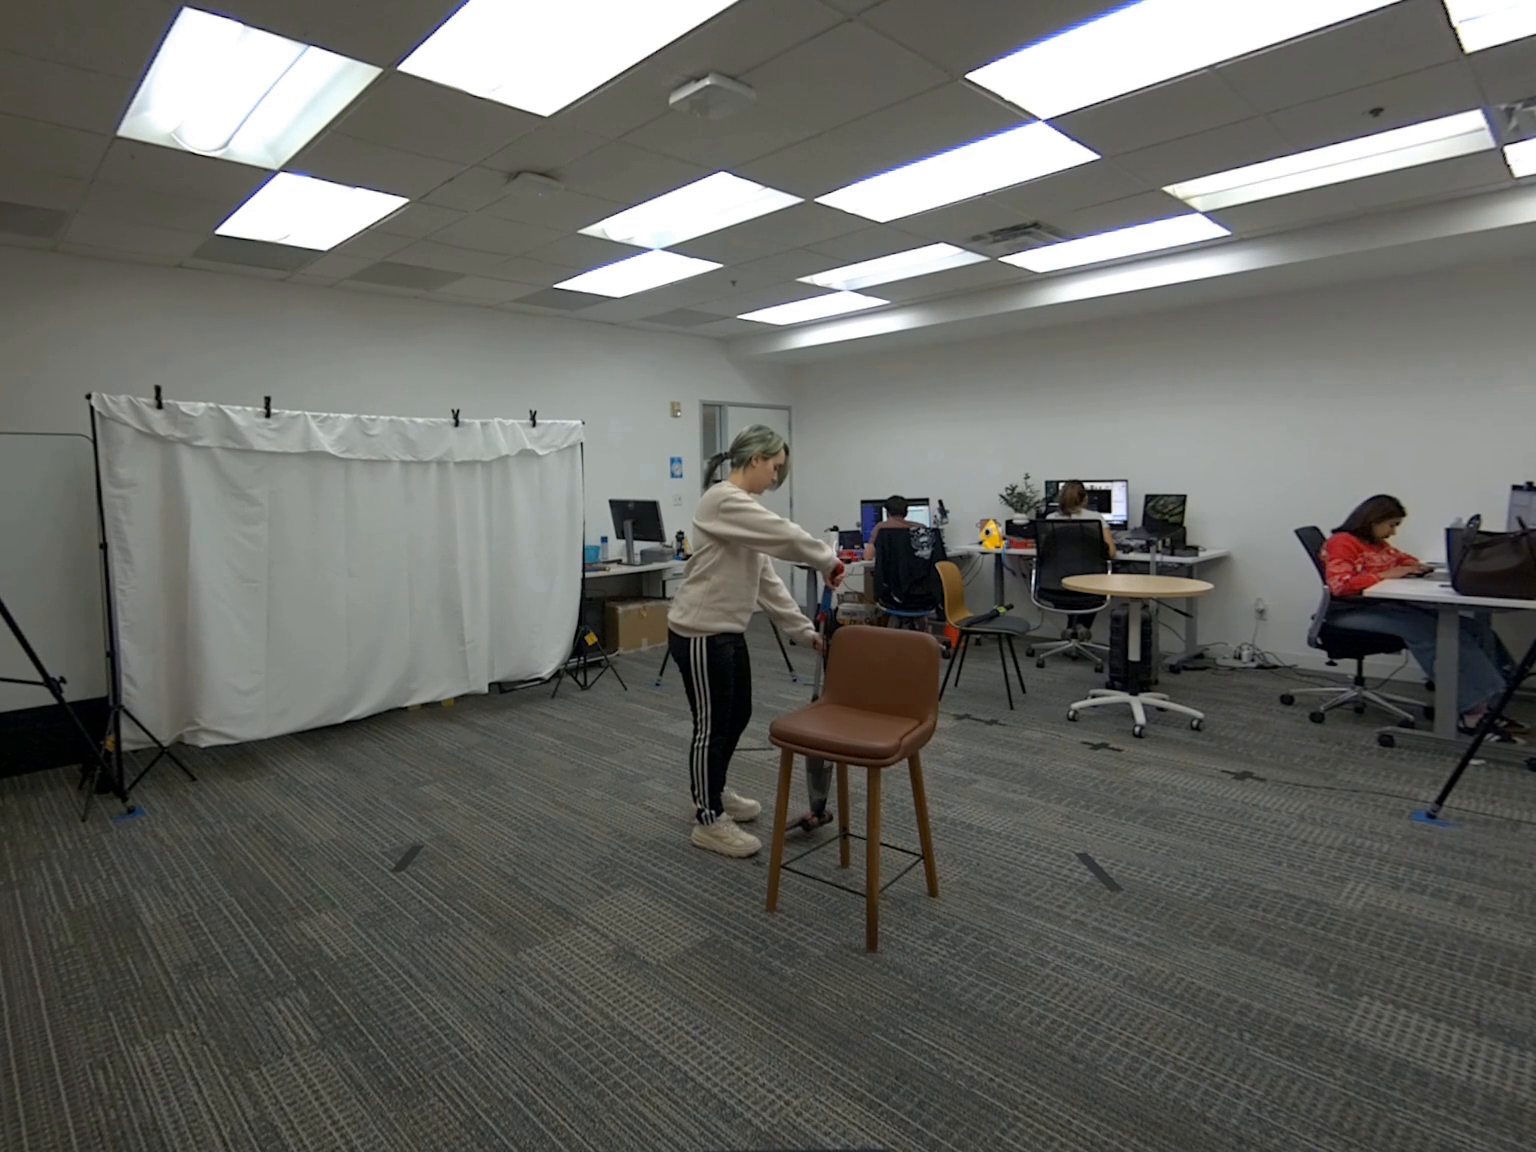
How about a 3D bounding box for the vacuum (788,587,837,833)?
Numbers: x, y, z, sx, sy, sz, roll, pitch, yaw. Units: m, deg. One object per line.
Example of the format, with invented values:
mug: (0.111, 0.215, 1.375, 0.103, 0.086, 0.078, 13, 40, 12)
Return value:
vacuum: (0.220, 0.475, 3.221, 0.246, 1.039, 0.149, -6, 17, -44)
